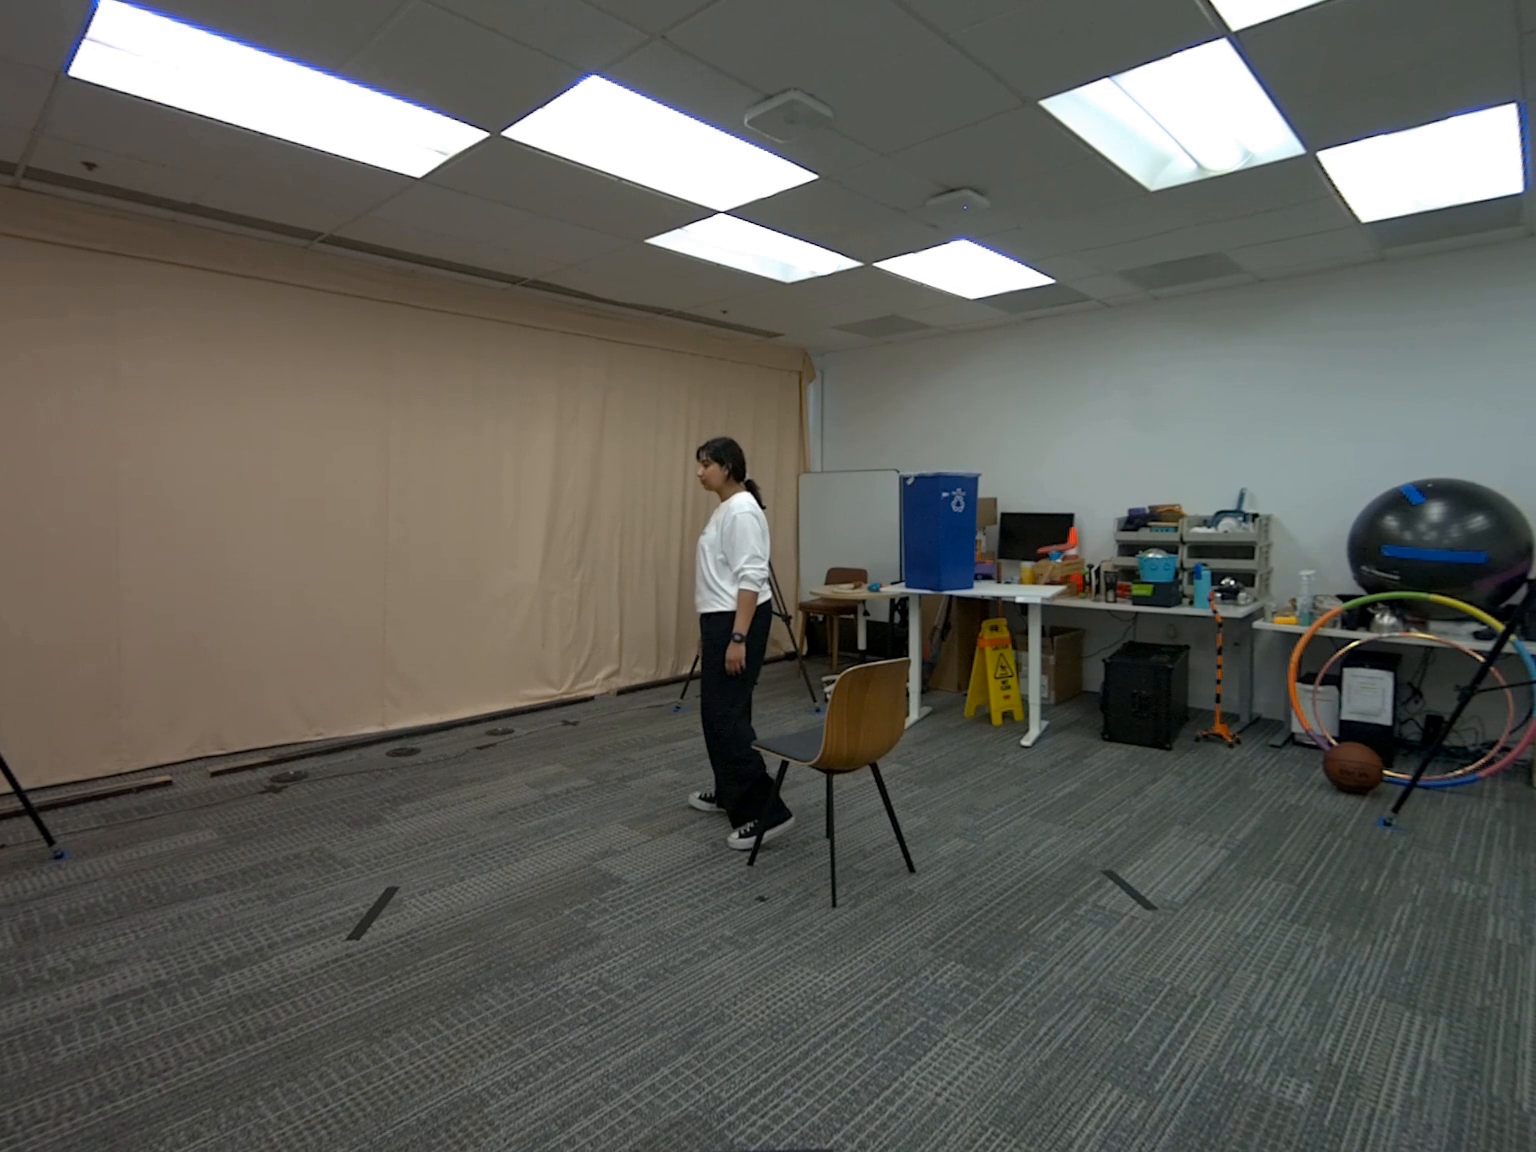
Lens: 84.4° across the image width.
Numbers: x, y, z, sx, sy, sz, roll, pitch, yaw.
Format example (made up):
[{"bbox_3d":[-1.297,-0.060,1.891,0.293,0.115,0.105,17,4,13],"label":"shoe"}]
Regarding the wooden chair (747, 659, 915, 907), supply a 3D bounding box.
[{"bbox_3d":[0.242,0.696,3.201,0.463,0.874,0.541,-3,9,-41],"label":"wooden chair"}]
